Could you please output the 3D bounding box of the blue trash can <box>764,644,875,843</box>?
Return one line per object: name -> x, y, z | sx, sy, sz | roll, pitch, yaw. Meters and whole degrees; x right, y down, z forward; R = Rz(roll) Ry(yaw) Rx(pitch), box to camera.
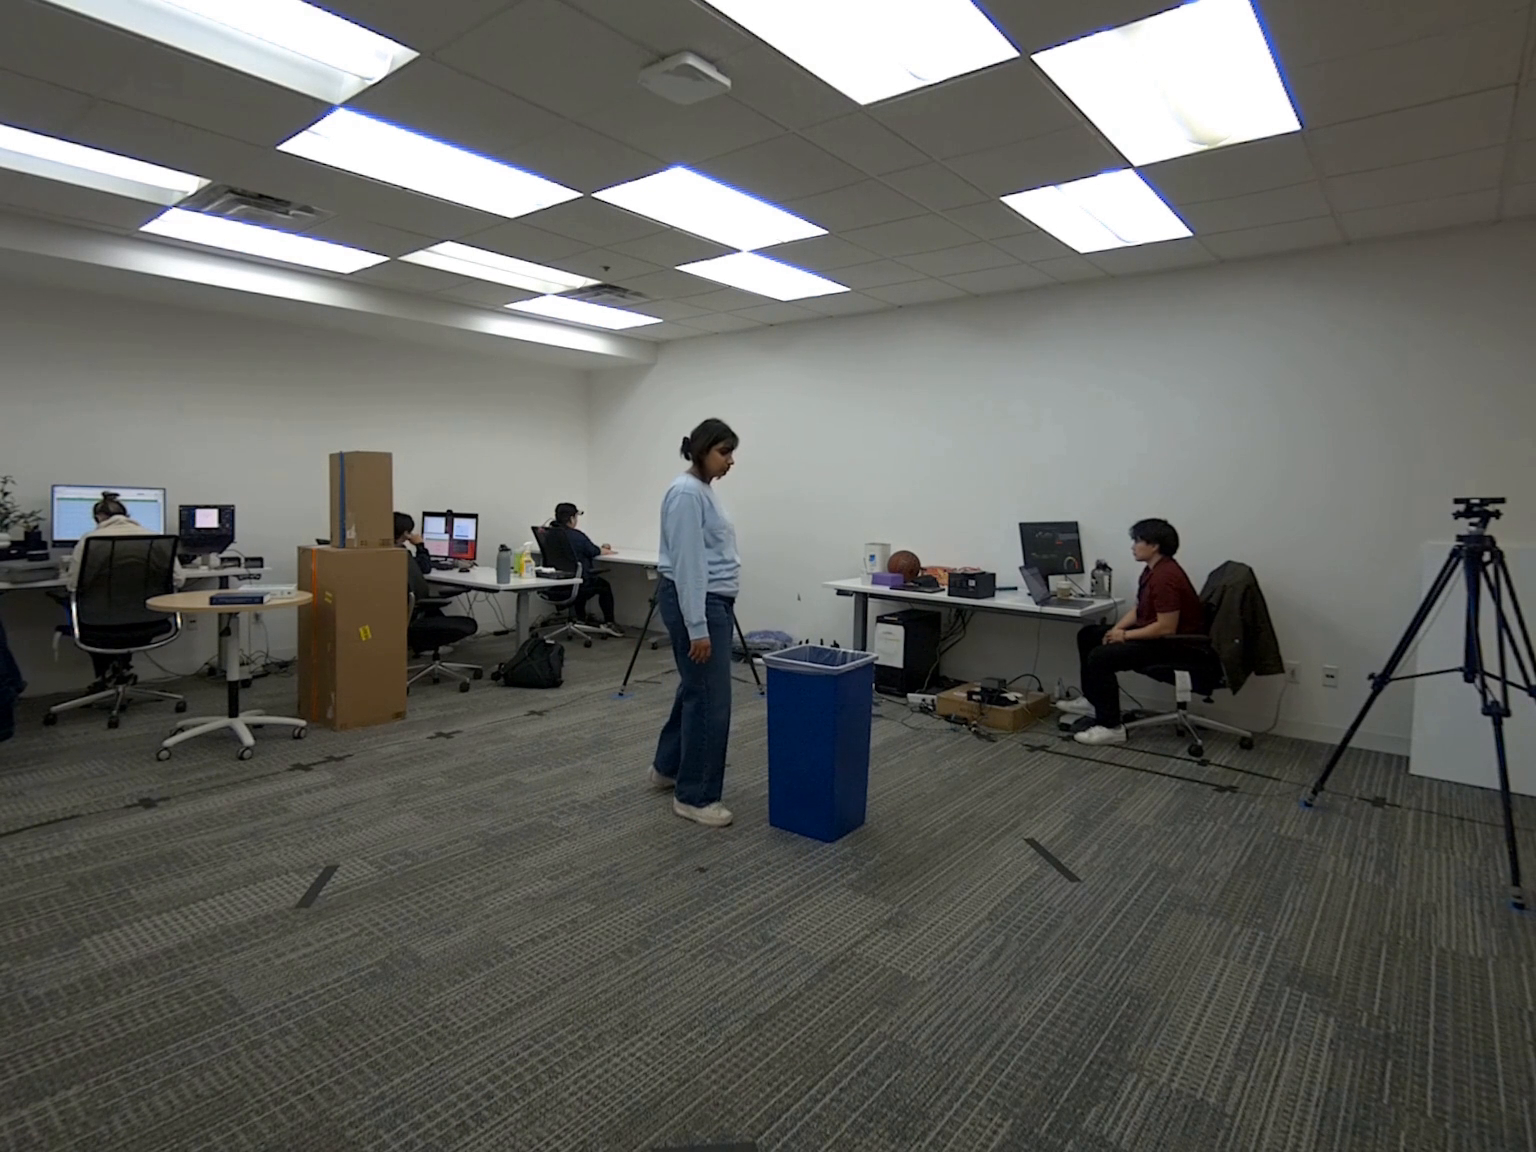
blue trash can -> 0.196, 0.679, 3.546 | 0.386, 0.711, 0.368 | 4, 5, 34
